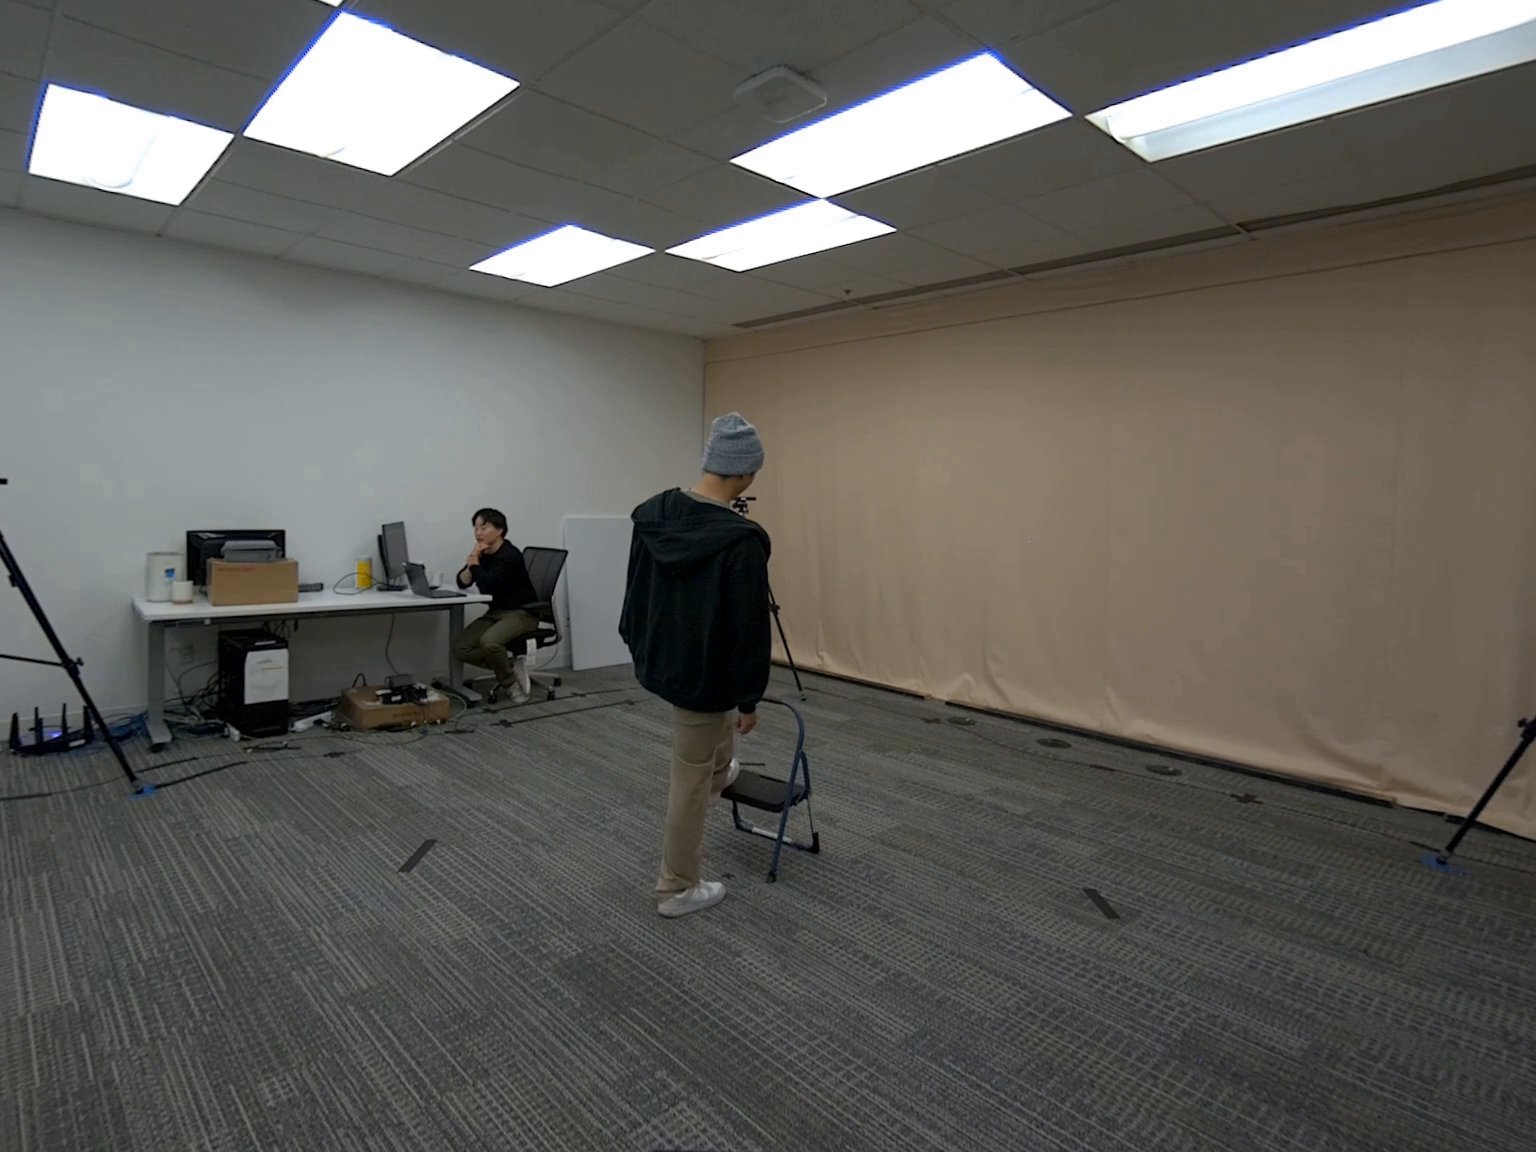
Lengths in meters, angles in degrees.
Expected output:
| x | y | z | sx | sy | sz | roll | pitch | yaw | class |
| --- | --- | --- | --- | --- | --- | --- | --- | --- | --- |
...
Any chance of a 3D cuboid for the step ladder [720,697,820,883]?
| x | y | z | sx | sy | sz | roll | pitch | yaw | class |
| --- | --- | --- | --- | --- | --- | --- | --- | --- | --- |
| -0.055 | 0.788 | 3.304 | 0.441 | 0.605 | 0.341 | 4 | 4 | 36 | step ladder |
